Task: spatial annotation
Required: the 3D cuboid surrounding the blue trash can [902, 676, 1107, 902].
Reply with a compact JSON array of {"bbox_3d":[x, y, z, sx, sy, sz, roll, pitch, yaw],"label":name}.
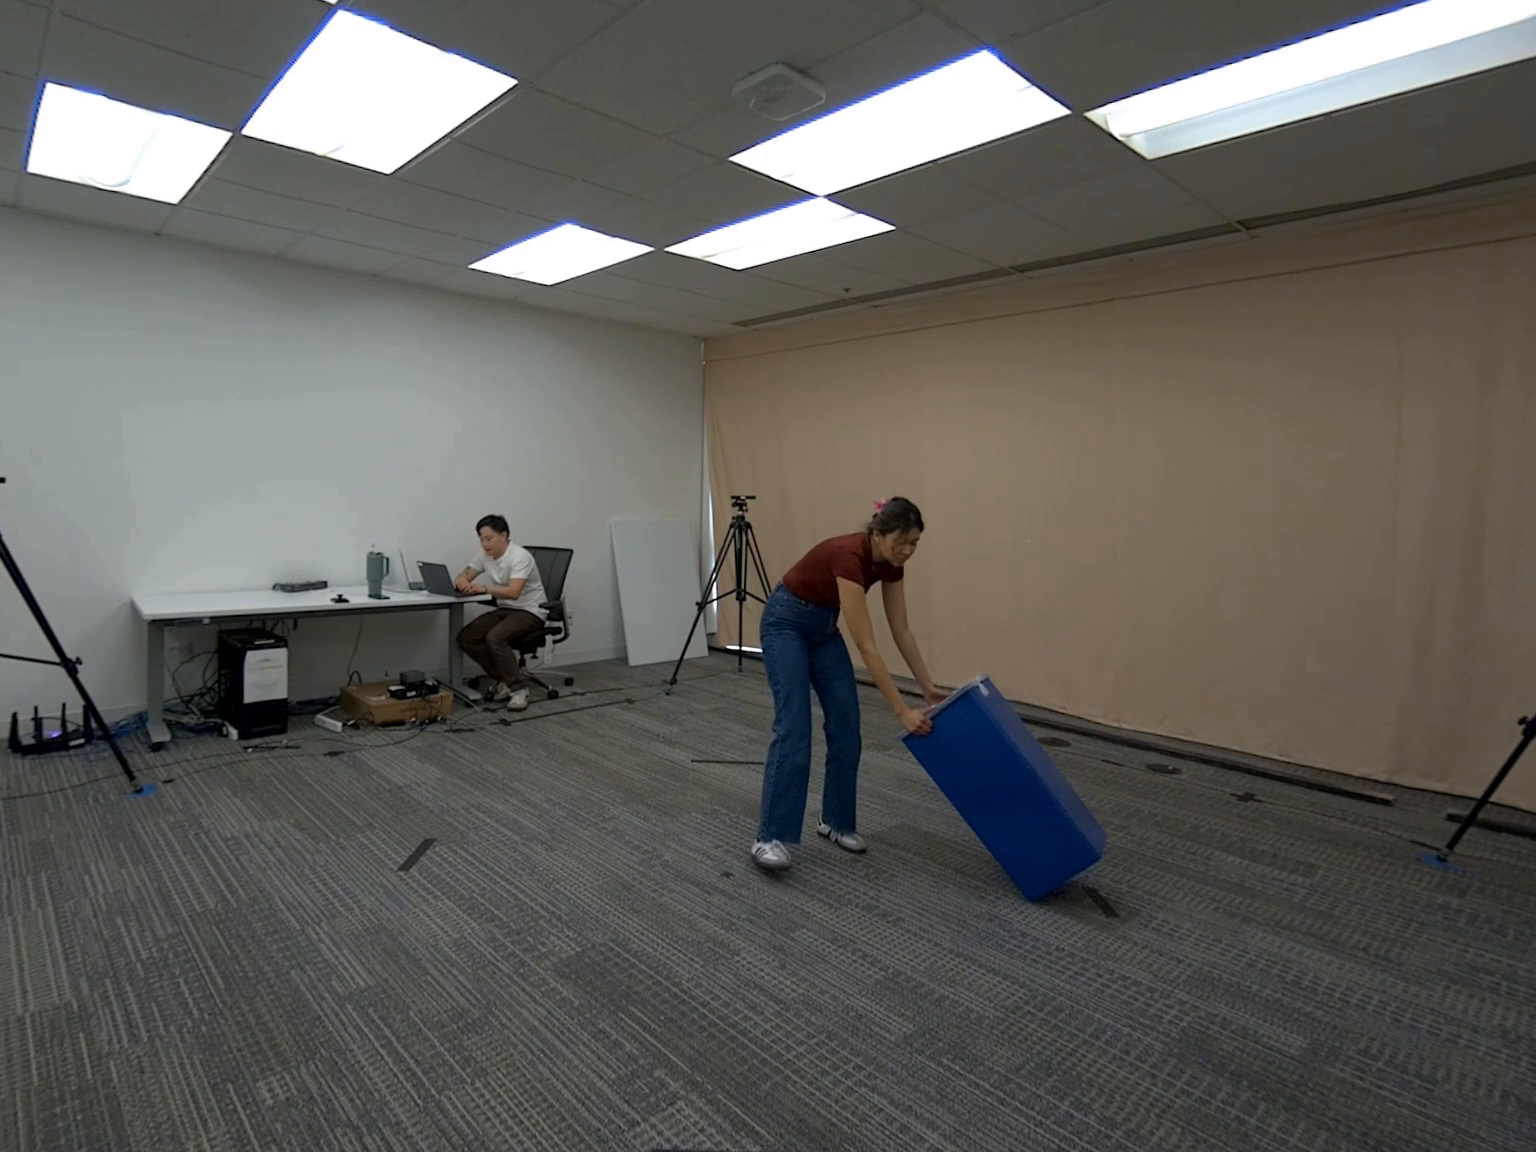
[{"bbox_3d":[0.840,0.765,3.106,0.375,0.726,0.370,-42,-18,20],"label":"blue trash can"}]
